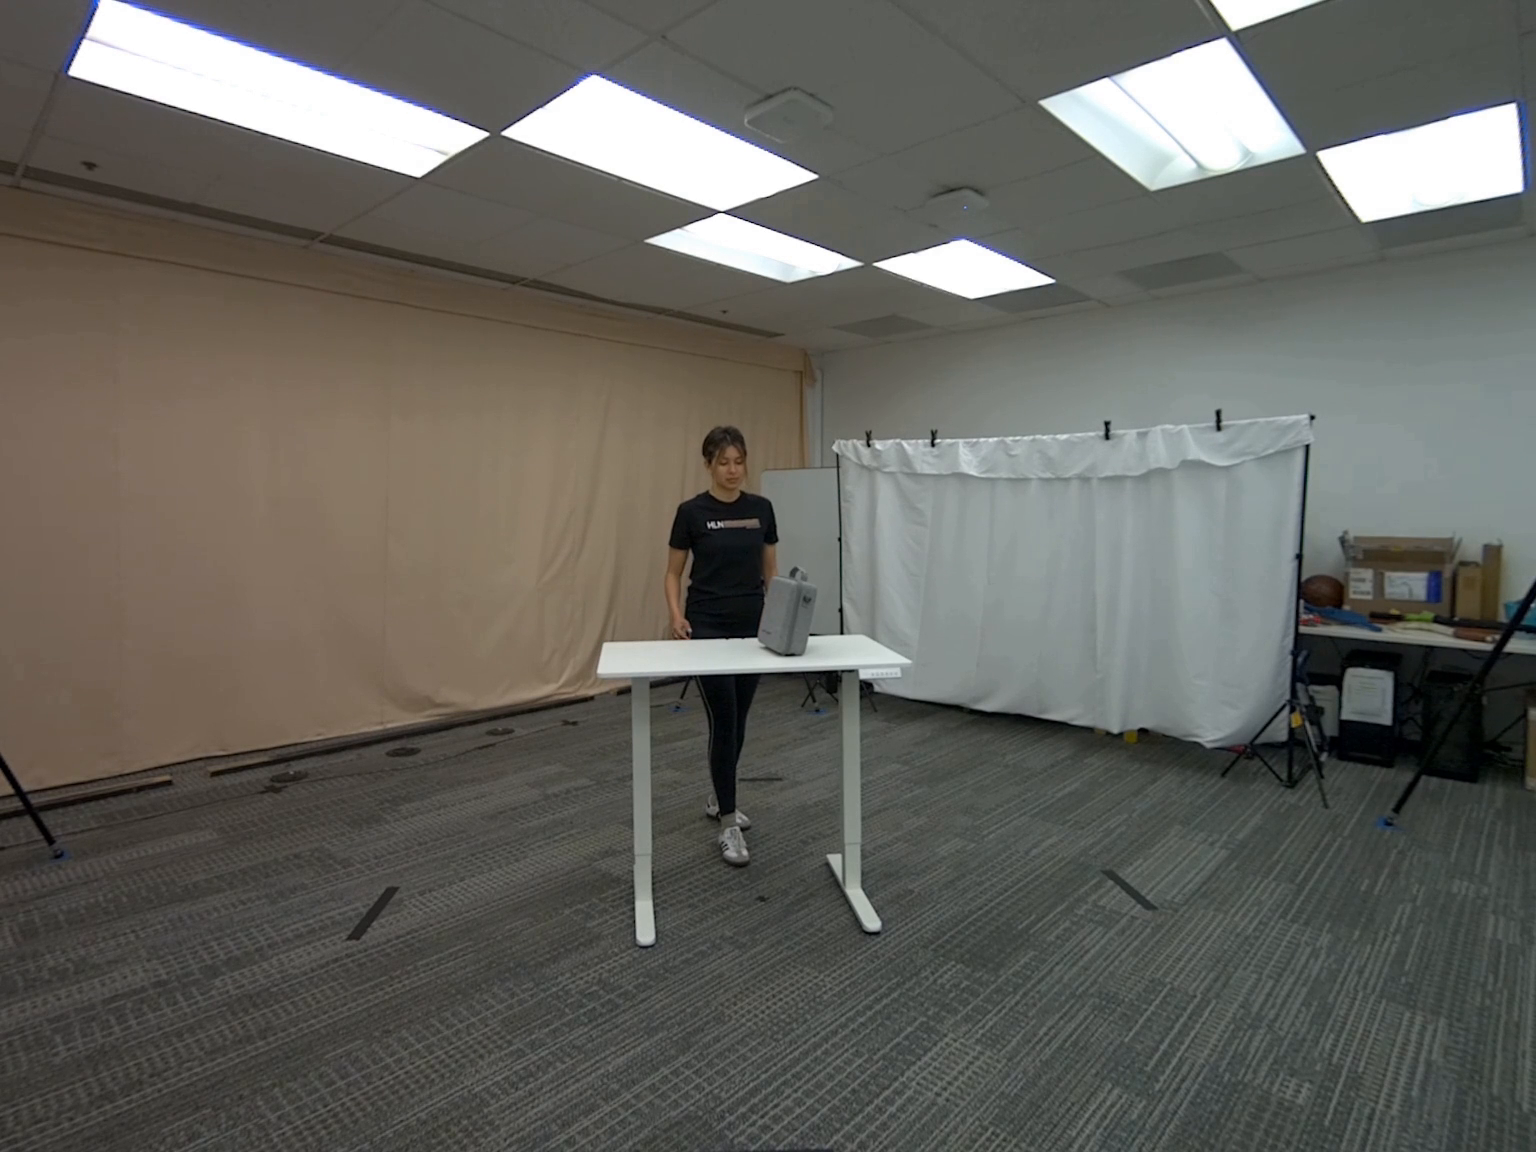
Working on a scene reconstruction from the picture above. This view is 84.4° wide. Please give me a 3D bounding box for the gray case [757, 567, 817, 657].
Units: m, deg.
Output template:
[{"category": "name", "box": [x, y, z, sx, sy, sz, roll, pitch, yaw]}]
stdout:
[{"category": "gray case", "box": [0.067, 0.133, 2.936, 0.102, 0.260, 0.262, 9, 1, -19]}]
